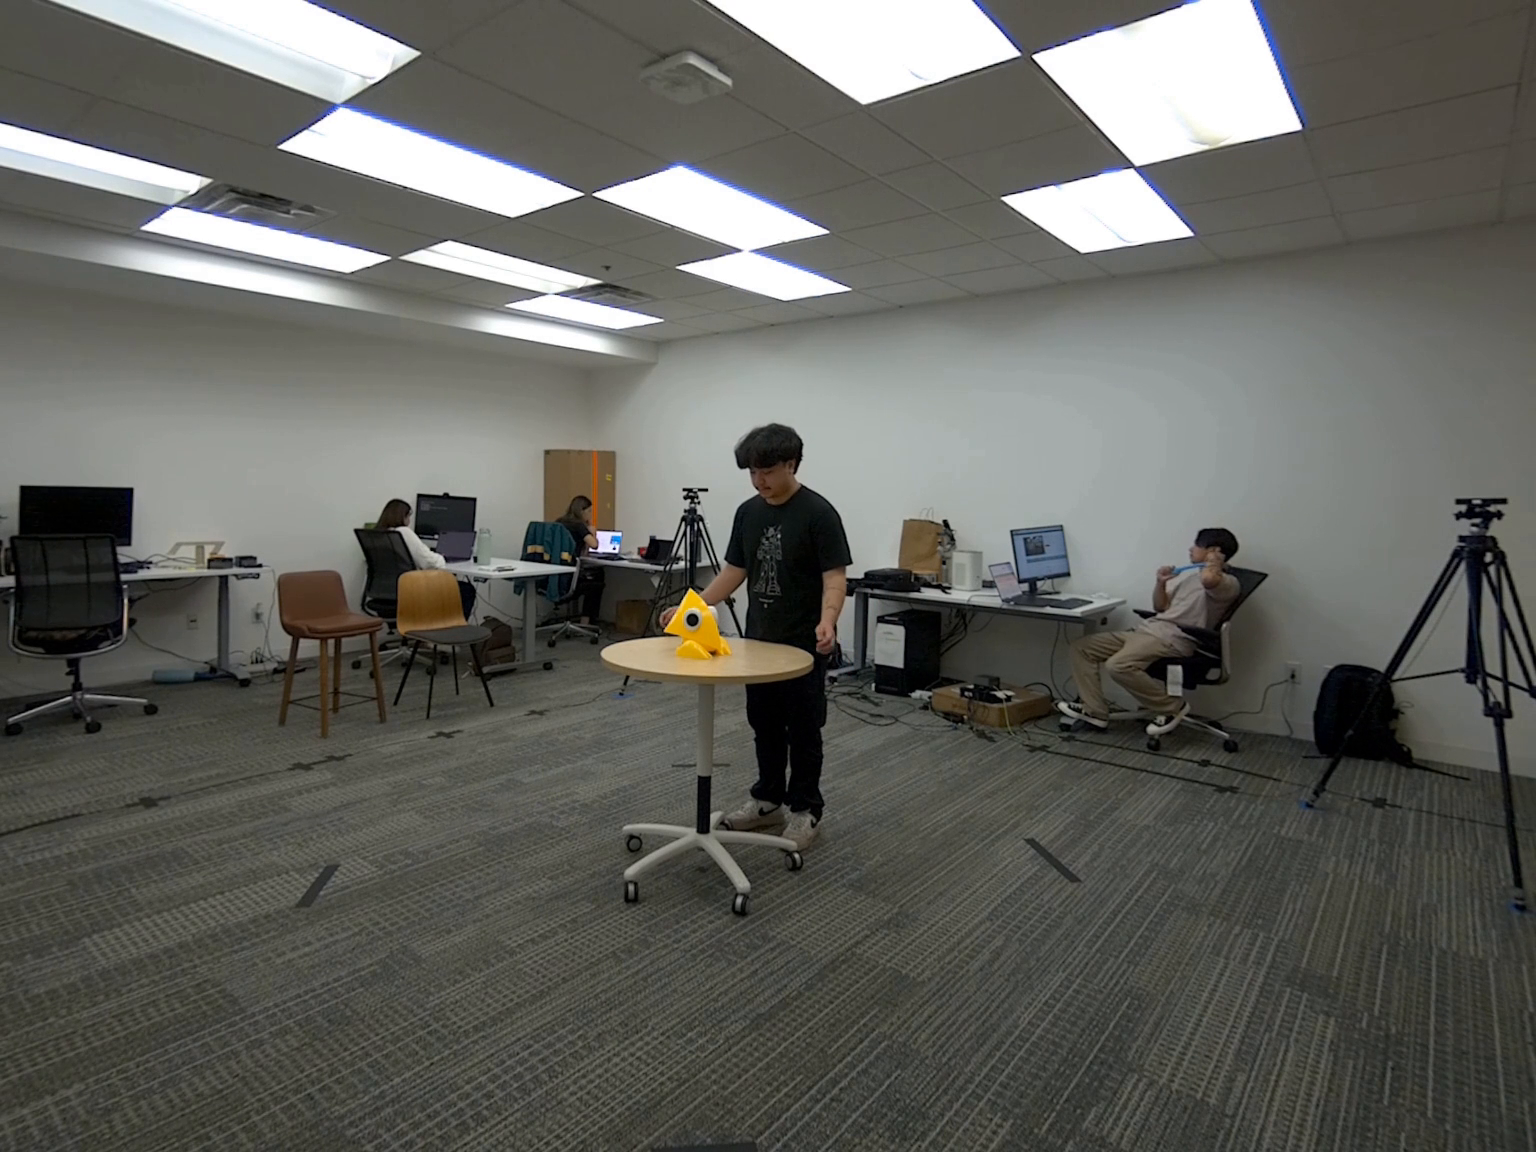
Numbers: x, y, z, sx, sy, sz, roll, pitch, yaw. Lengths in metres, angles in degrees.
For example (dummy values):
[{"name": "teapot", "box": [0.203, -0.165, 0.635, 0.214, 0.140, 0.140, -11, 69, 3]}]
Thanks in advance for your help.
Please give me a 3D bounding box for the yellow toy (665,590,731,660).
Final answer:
[{"name": "yellow toy", "box": [-0.246, 0.165, 3.073, 0.199, 0.230, 0.199, 5, 5, 38]}]
